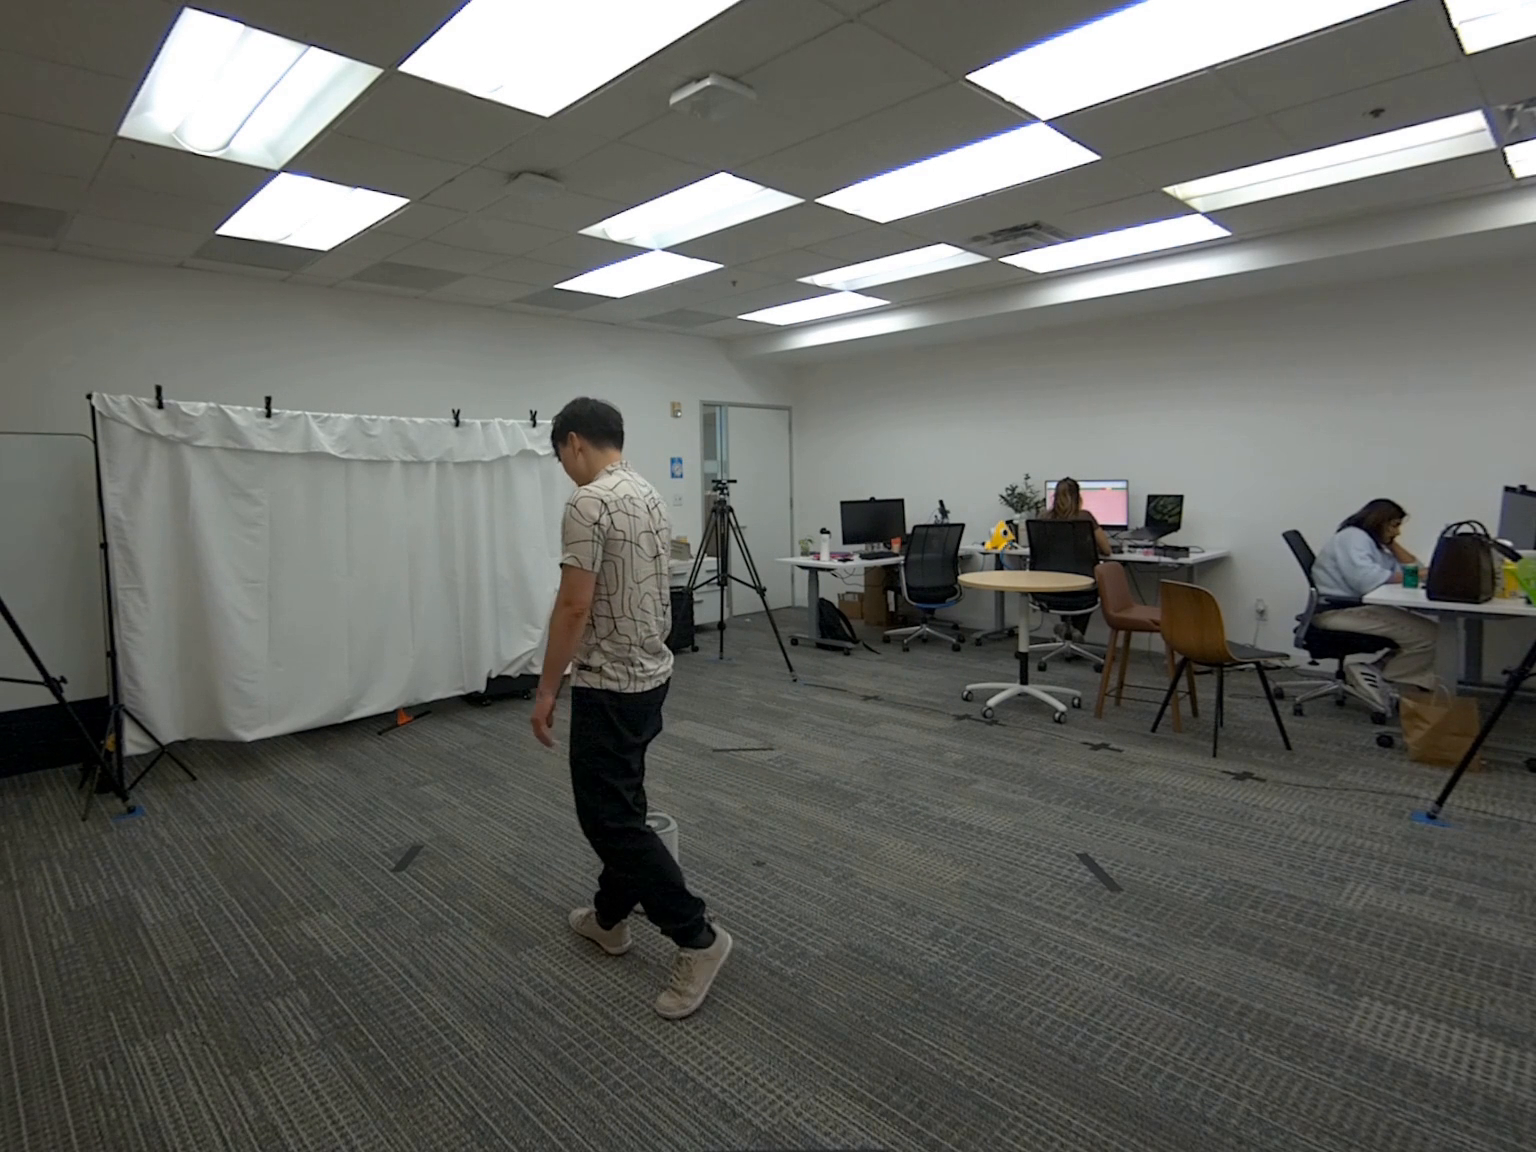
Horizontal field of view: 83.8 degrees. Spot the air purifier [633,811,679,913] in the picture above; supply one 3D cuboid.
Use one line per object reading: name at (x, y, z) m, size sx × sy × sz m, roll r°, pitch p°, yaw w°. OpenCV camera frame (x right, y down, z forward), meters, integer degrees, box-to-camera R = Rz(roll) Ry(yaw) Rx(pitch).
air purifier at (-0.386, 0.954, 2.835) m, size 0.168 × 0.264 × 0.176 m, roll -2°, pitch 5°, yaw -24°
